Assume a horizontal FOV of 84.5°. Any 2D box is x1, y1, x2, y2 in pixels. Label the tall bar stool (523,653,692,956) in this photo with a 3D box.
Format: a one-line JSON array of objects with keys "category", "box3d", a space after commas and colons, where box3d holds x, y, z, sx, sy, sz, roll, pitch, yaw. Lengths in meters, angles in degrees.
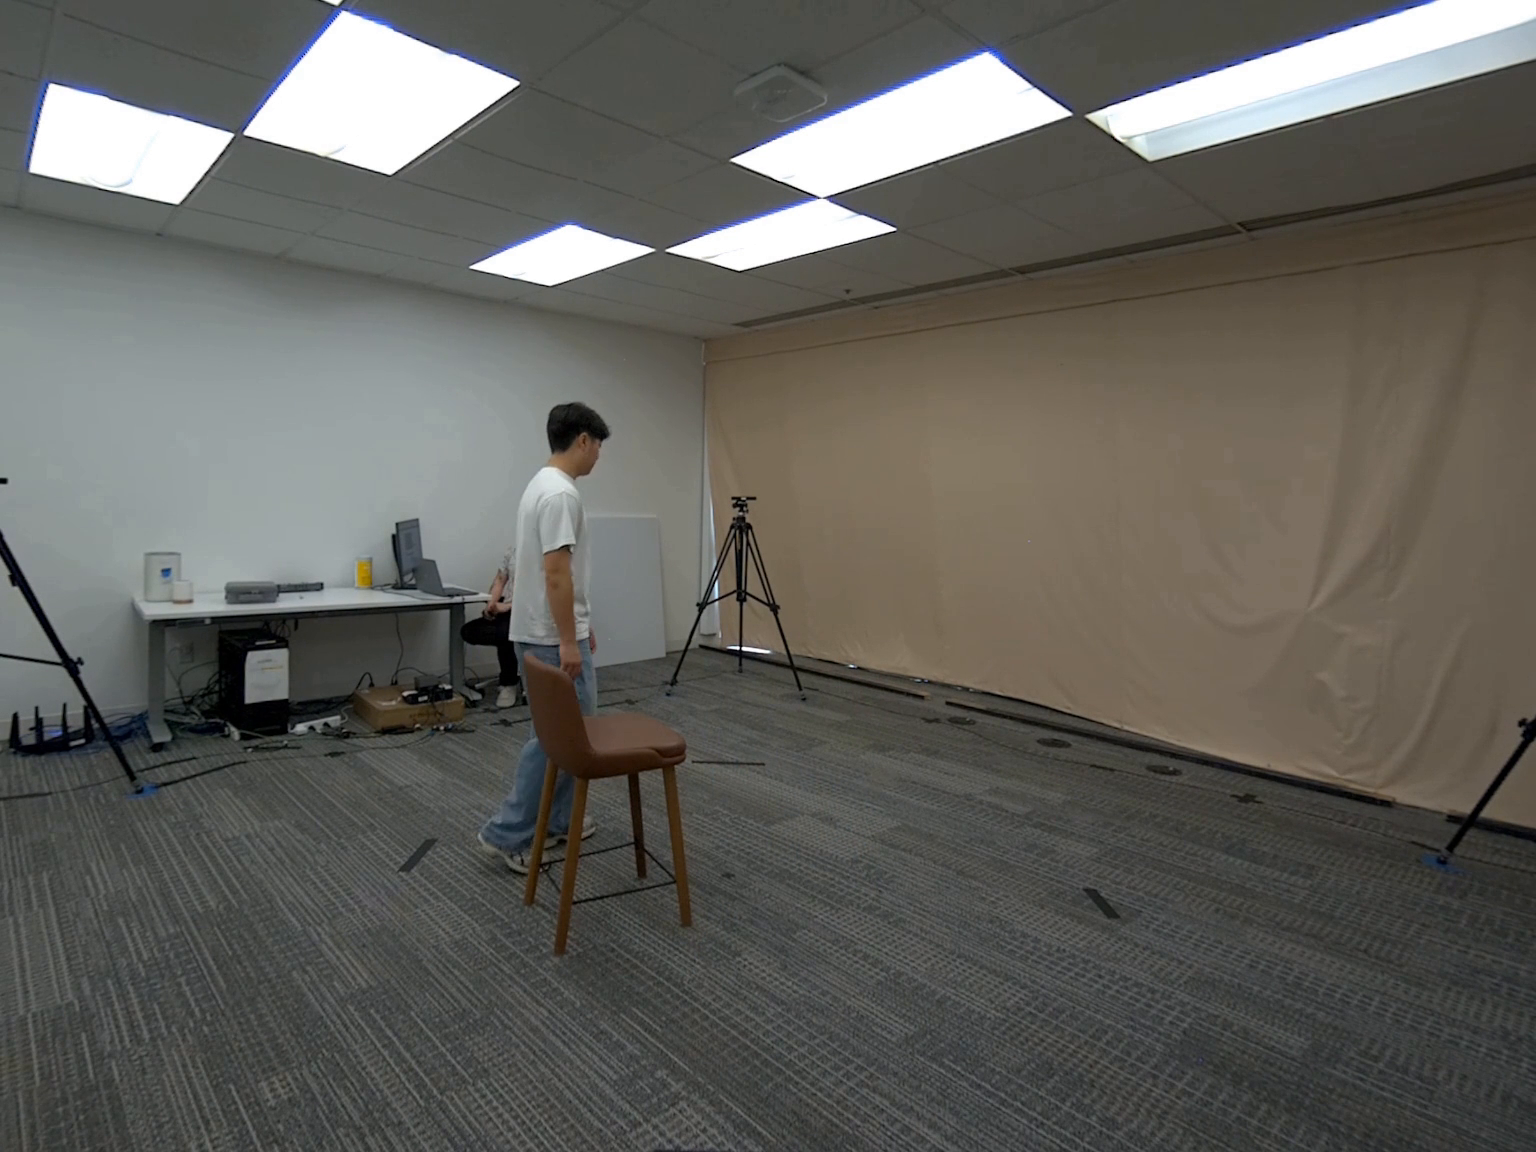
[{"category": "tall bar stool", "box3d": [-0.540, 0.693, 2.774, 0.458, 0.887, 0.467, -2, 5, -30]}]
